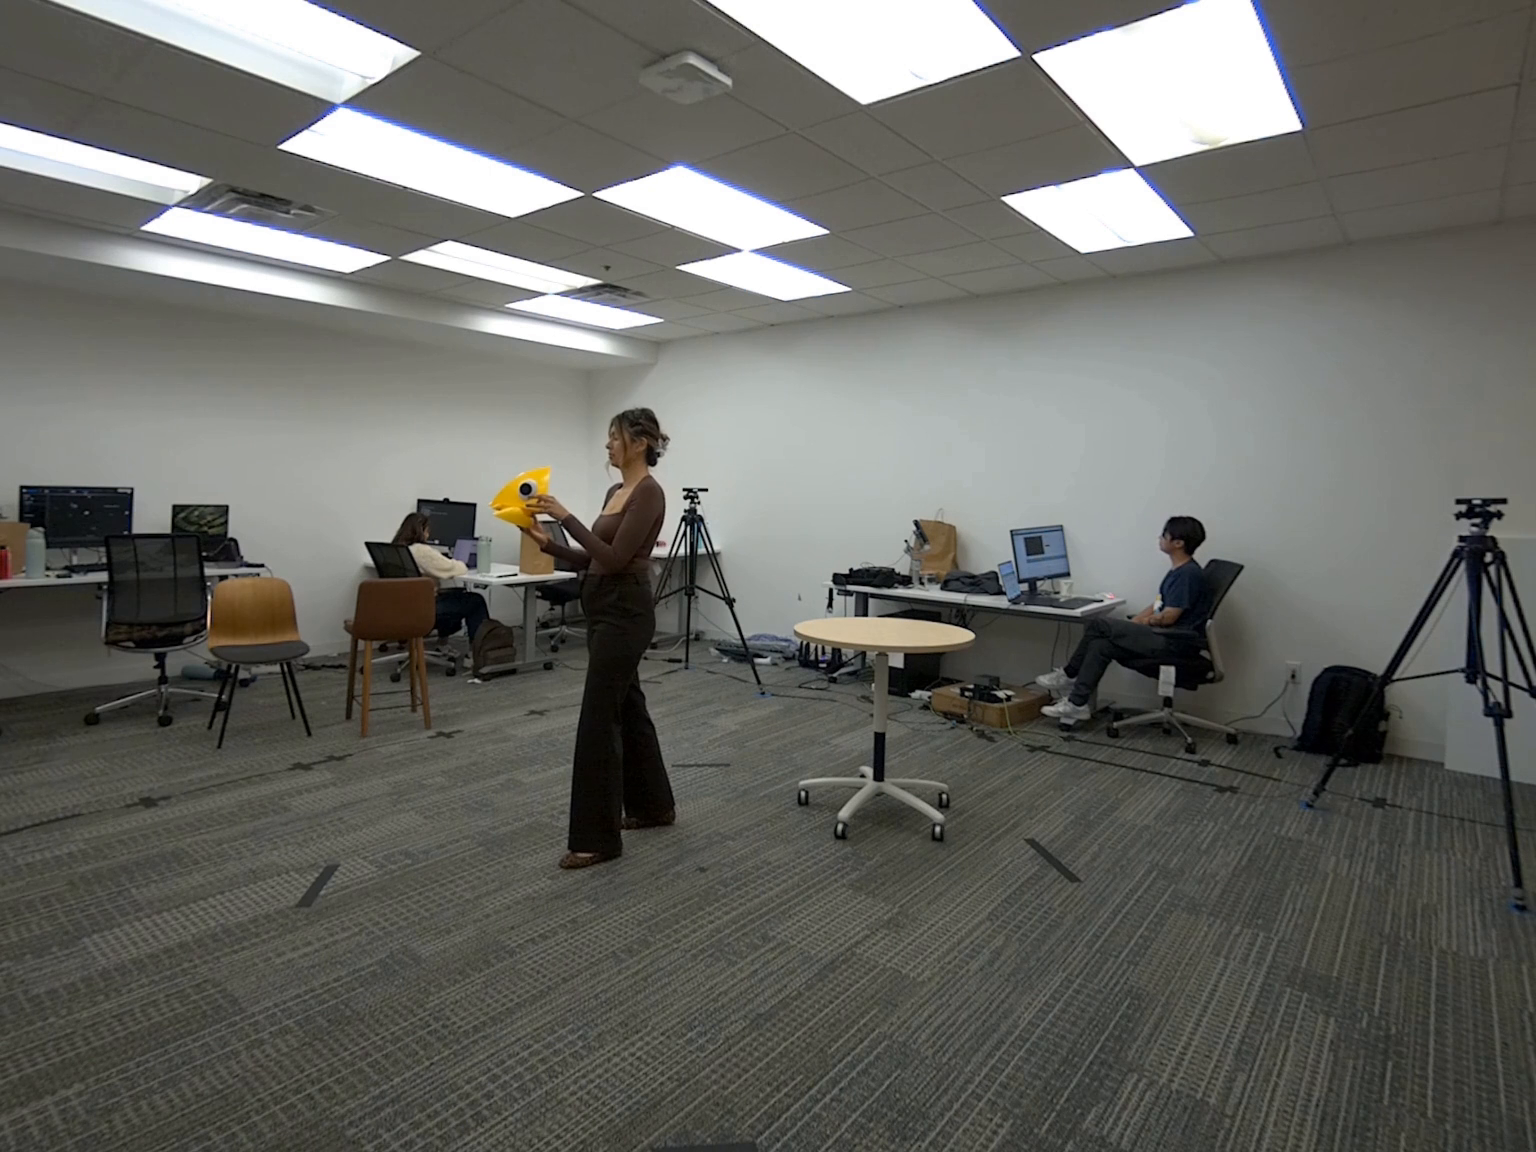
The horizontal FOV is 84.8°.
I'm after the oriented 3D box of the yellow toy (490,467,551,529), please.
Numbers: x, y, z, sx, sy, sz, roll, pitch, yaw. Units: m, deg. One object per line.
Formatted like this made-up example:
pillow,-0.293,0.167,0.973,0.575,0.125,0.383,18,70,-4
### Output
yellow toy,-0.929,-0.329,3.199,0.187,0.230,0.212,19,11,-29
